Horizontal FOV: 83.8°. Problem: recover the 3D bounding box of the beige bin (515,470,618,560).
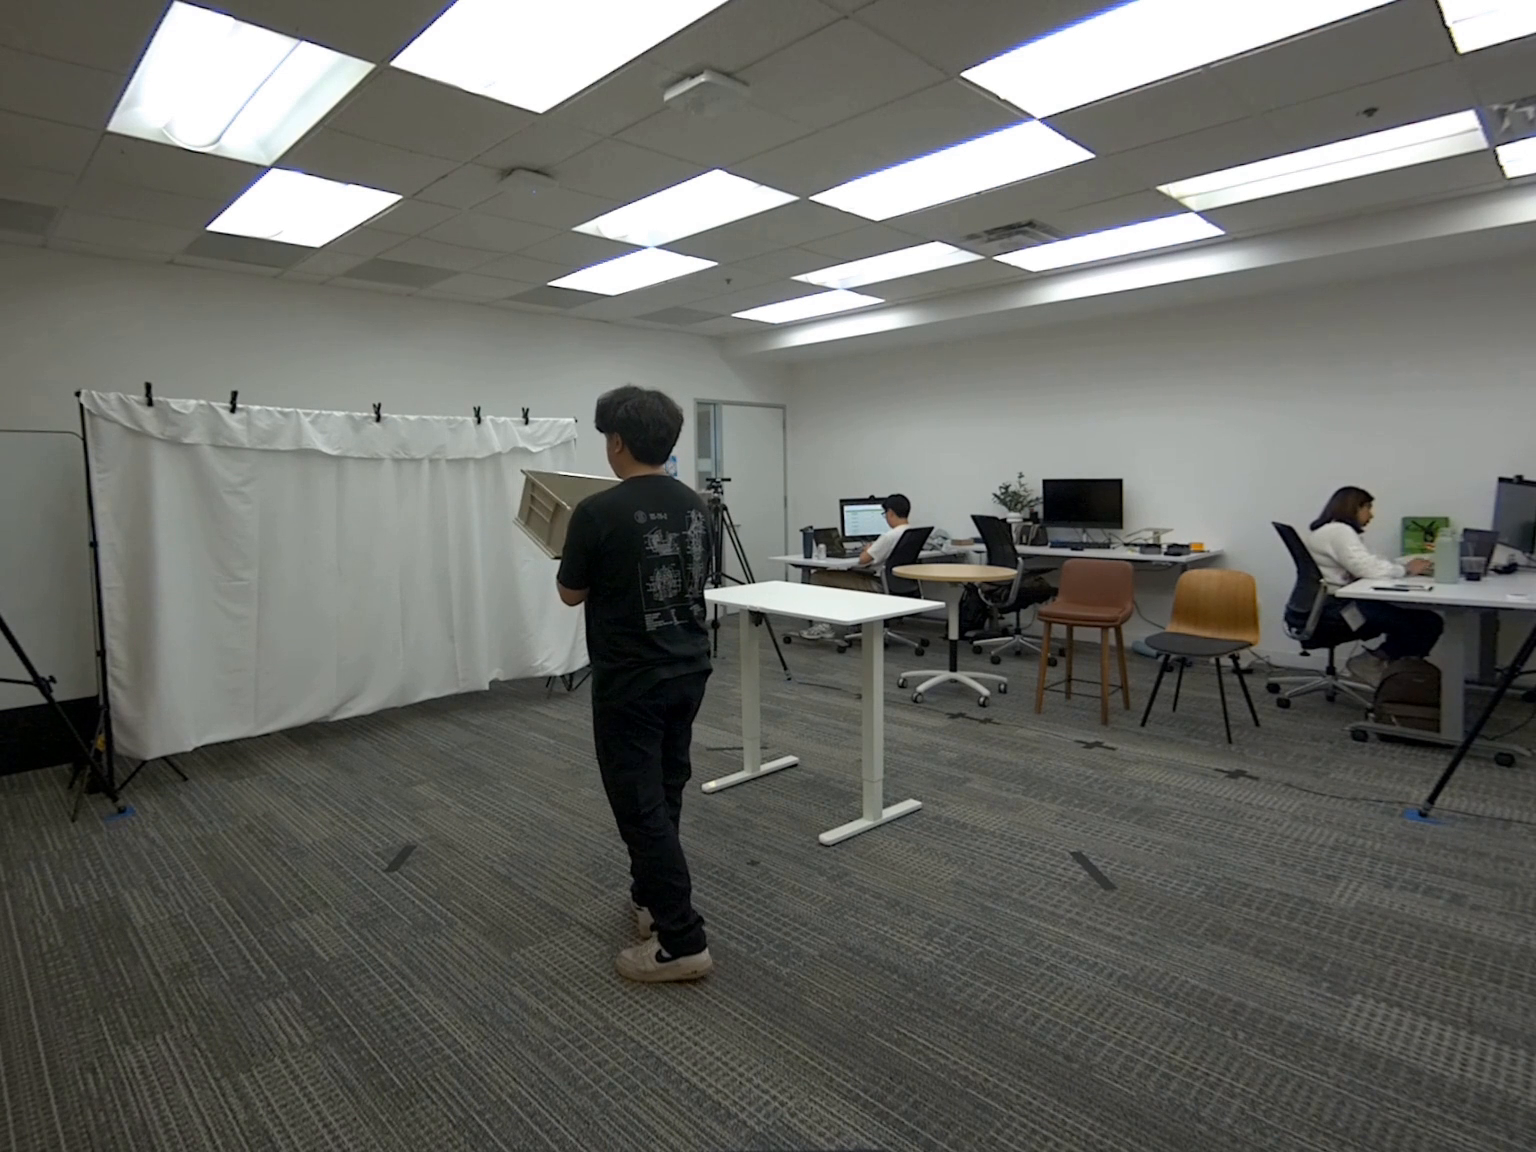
[{"bbox_3d":[-0.553,-0.179,2.782,0.410,0.187,0.392,2,21,-39],"label":"beige bin"}]
